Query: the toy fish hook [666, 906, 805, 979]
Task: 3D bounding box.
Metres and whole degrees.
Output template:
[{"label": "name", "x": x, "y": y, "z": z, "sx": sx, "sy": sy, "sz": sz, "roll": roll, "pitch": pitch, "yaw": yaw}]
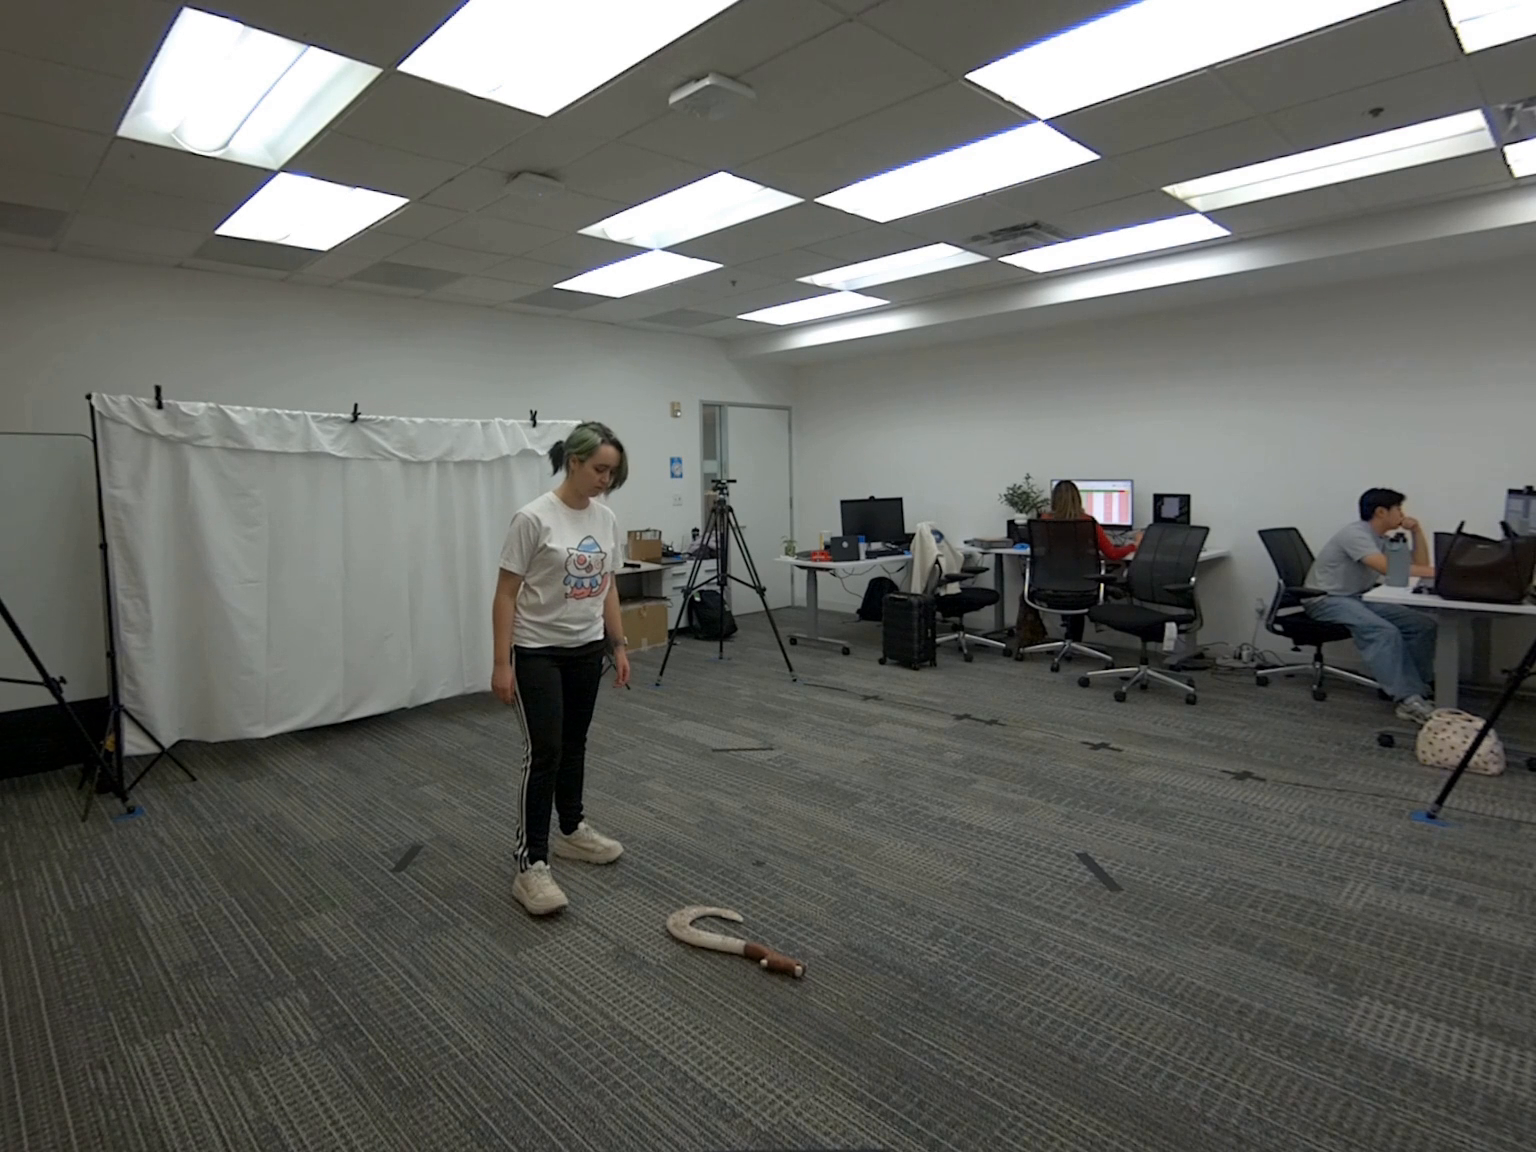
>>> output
[{"label": "toy fish hook", "x": -0.079, "y": 1.087, "z": 2.576, "sx": 0.521, "sy": 0.048, "sz": 0.219, "roll": 4, "pitch": 11, "yaw": 36}]
